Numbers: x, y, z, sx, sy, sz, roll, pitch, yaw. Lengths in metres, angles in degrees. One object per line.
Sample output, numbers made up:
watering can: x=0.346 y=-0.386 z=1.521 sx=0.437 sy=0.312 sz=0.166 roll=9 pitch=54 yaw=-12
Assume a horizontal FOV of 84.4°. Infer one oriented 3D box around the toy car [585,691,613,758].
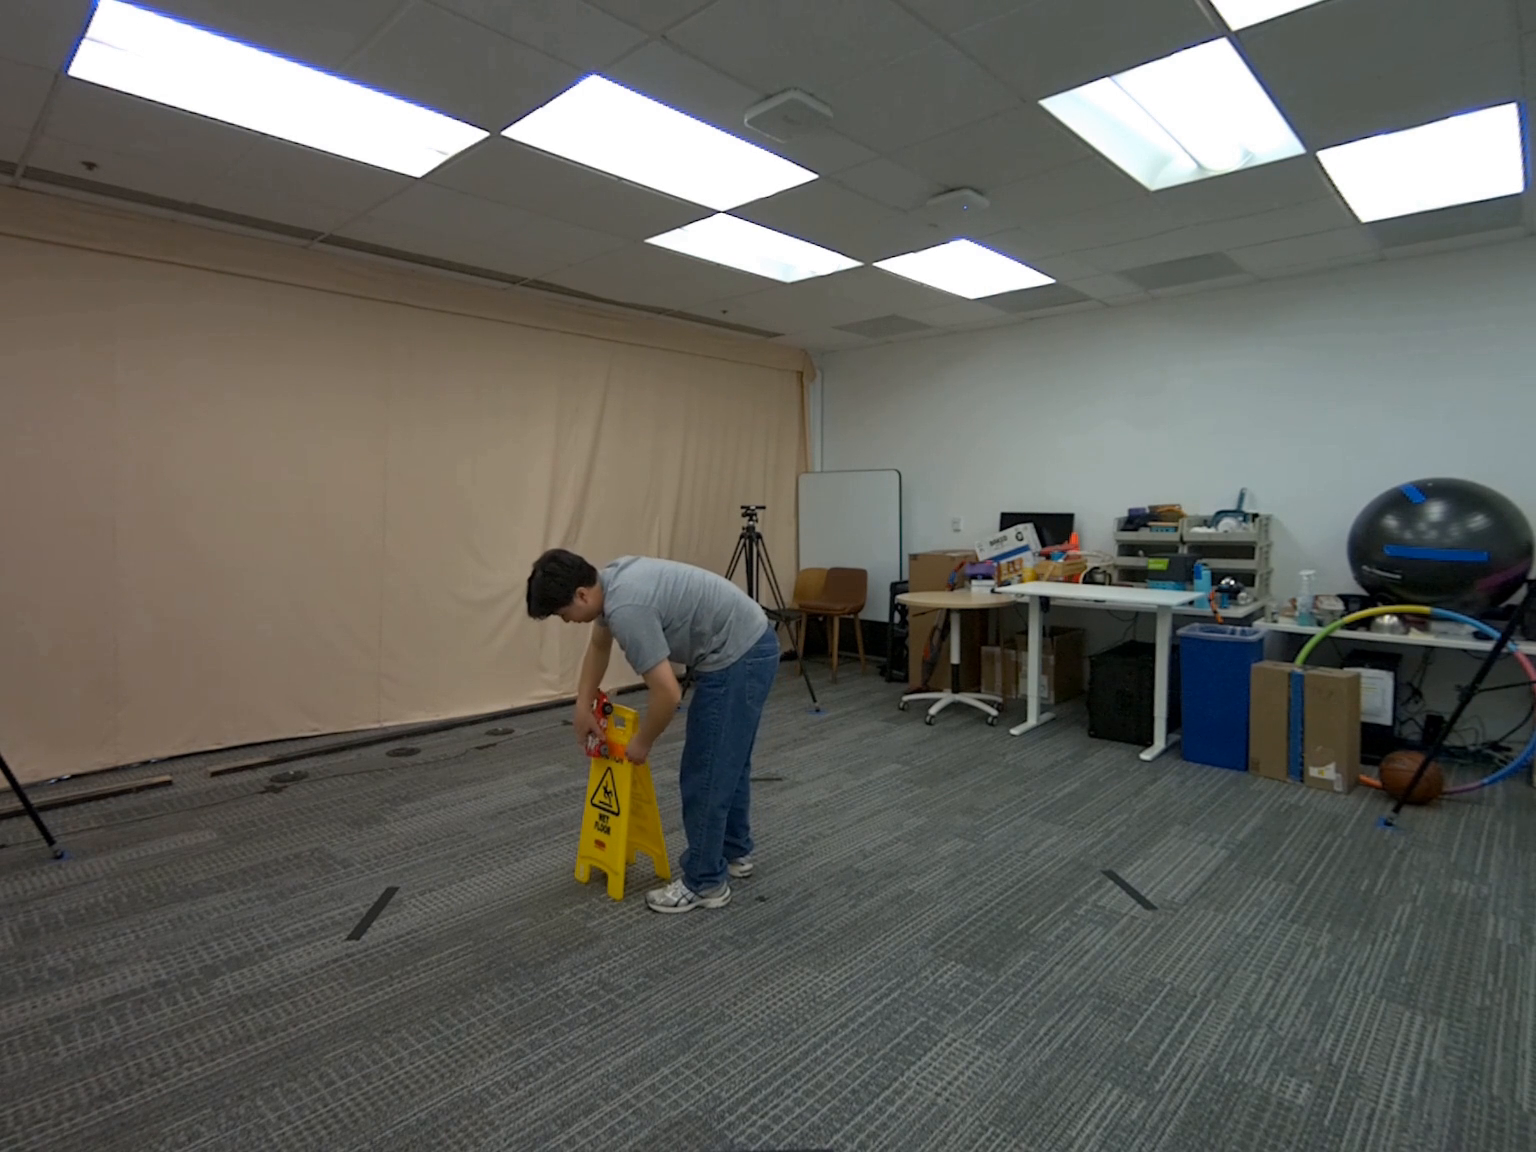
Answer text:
toy car: x=-0.629 y=0.545 z=3.136 sx=0.081 sy=0.256 sz=0.133 roll=0 pitch=-9 yaw=-35
